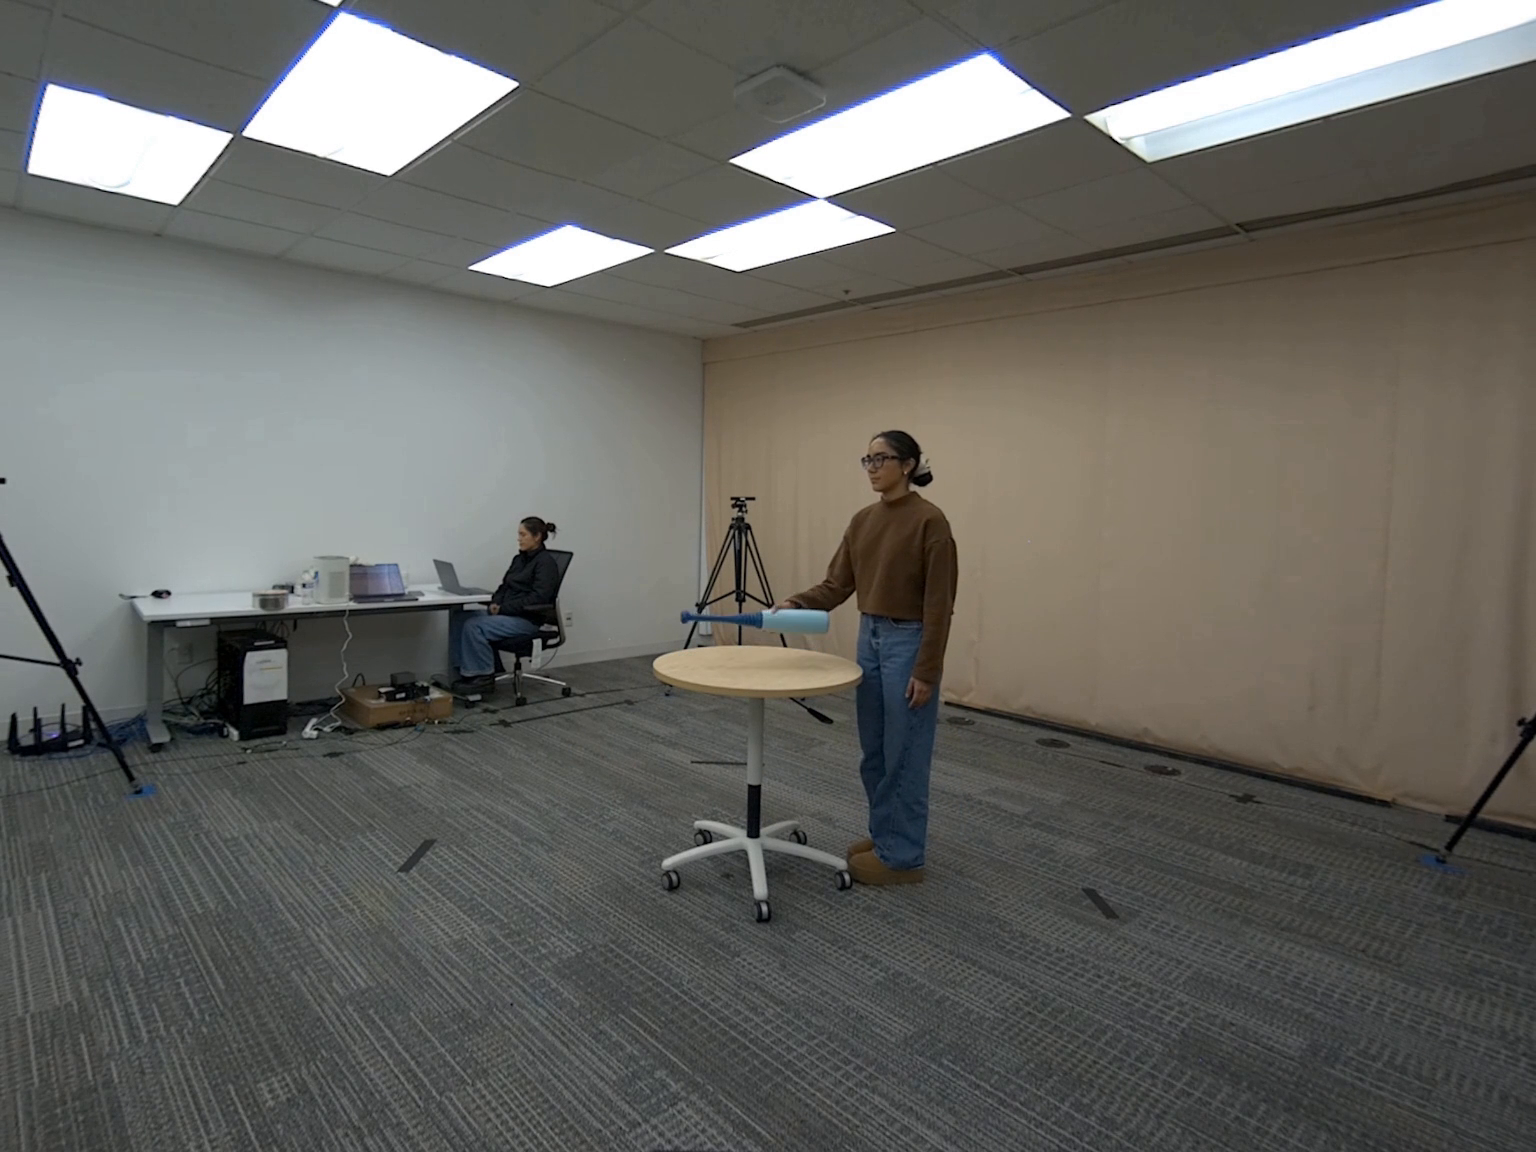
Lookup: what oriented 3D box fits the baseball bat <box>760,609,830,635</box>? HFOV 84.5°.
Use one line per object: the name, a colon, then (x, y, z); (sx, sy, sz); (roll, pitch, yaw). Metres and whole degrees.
baseball bat: (-0.048, 0.157, 3.052); (0.540, 0.089, 0.090); (3, 4, -6)
